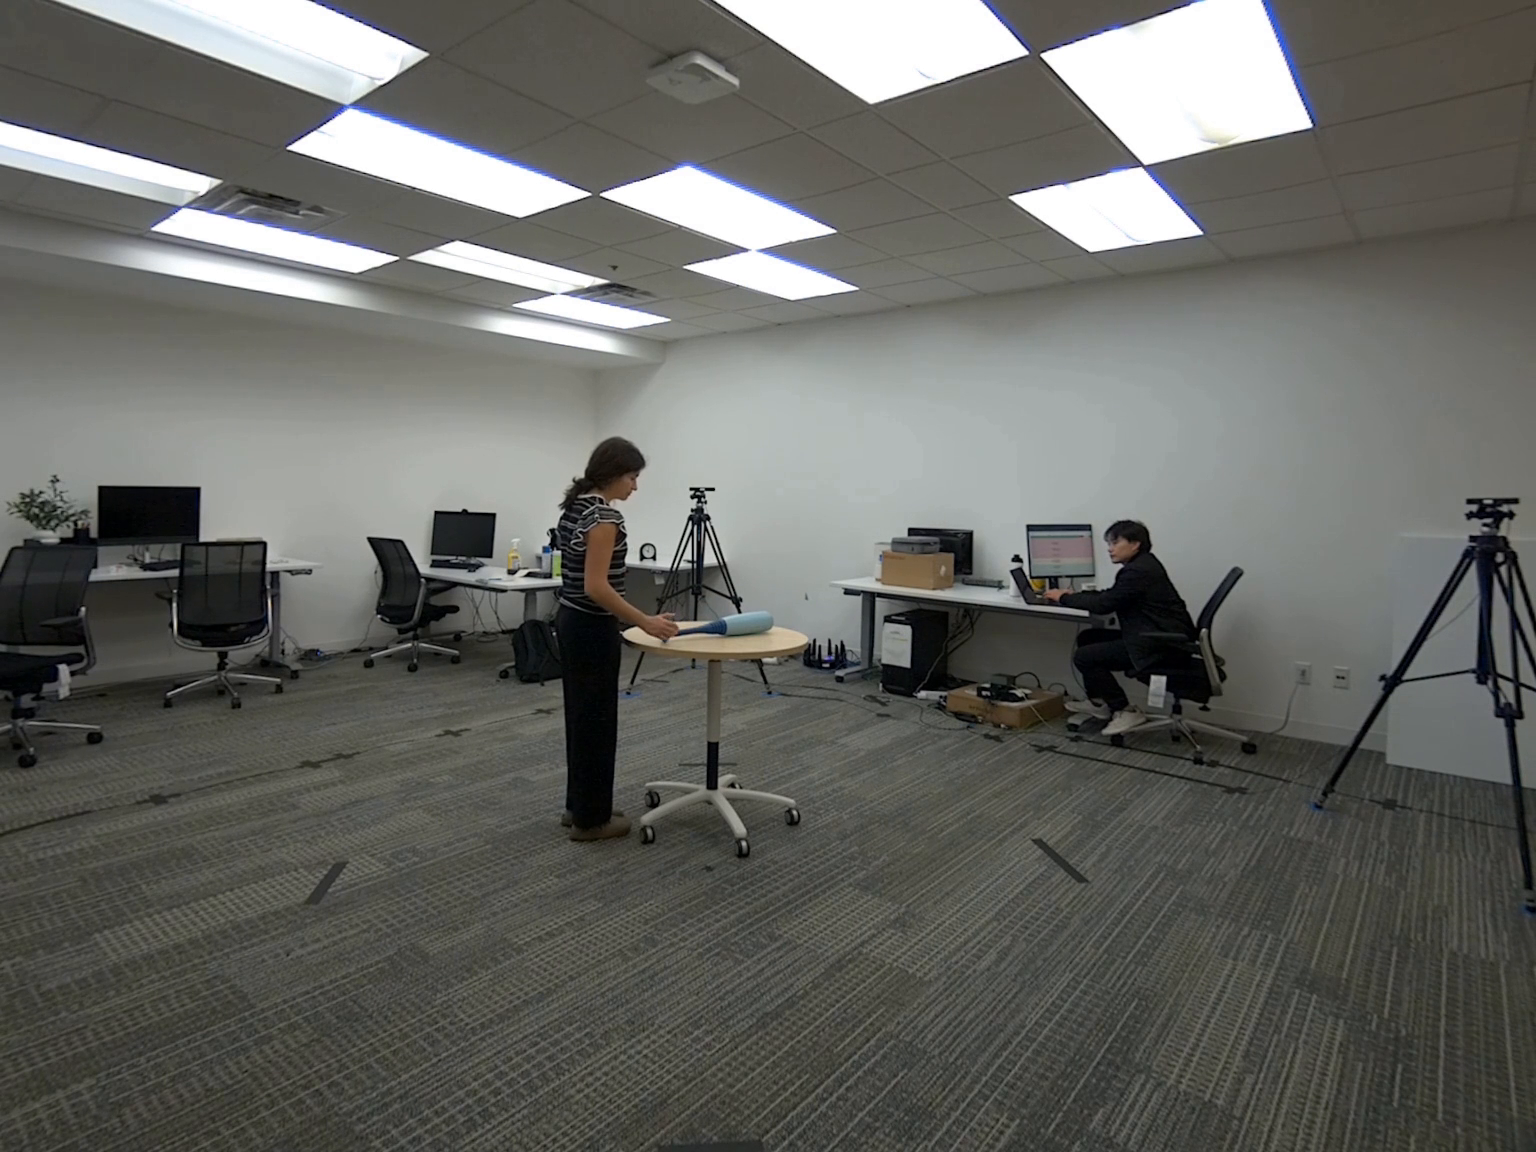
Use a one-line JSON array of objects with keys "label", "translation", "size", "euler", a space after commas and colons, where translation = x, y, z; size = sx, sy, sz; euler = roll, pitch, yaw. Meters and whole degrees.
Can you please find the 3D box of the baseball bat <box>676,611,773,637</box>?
[{"label": "baseball bat", "translation": [-0.220, 0.215, 3.481], "size": [0.528, 0.088, 0.092], "euler": [-6, 8, -35]}]
